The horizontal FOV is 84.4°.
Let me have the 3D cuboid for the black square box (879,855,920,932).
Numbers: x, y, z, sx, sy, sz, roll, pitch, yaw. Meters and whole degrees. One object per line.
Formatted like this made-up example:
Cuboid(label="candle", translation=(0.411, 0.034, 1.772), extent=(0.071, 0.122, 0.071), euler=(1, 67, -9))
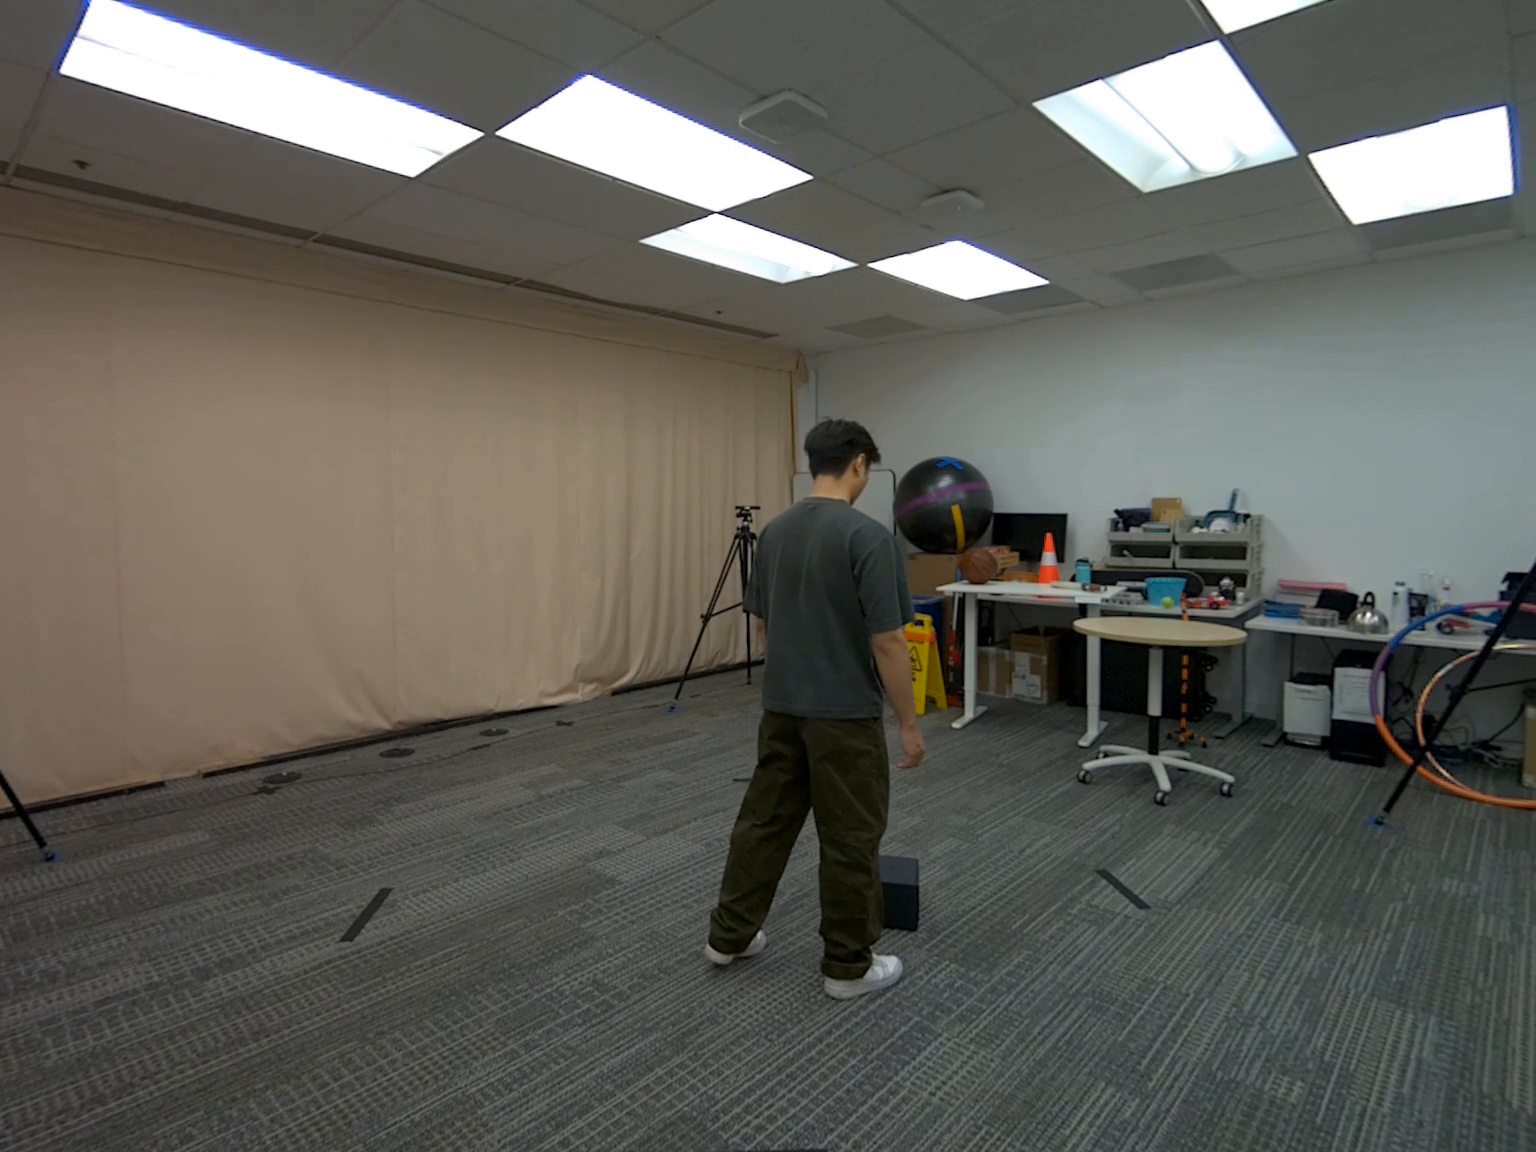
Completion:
Cuboid(label="black square box", translation=(0.404, 1.066, 2.872), extent=(0.231, 0.155, 0.214), euler=(1, 4, 12))
